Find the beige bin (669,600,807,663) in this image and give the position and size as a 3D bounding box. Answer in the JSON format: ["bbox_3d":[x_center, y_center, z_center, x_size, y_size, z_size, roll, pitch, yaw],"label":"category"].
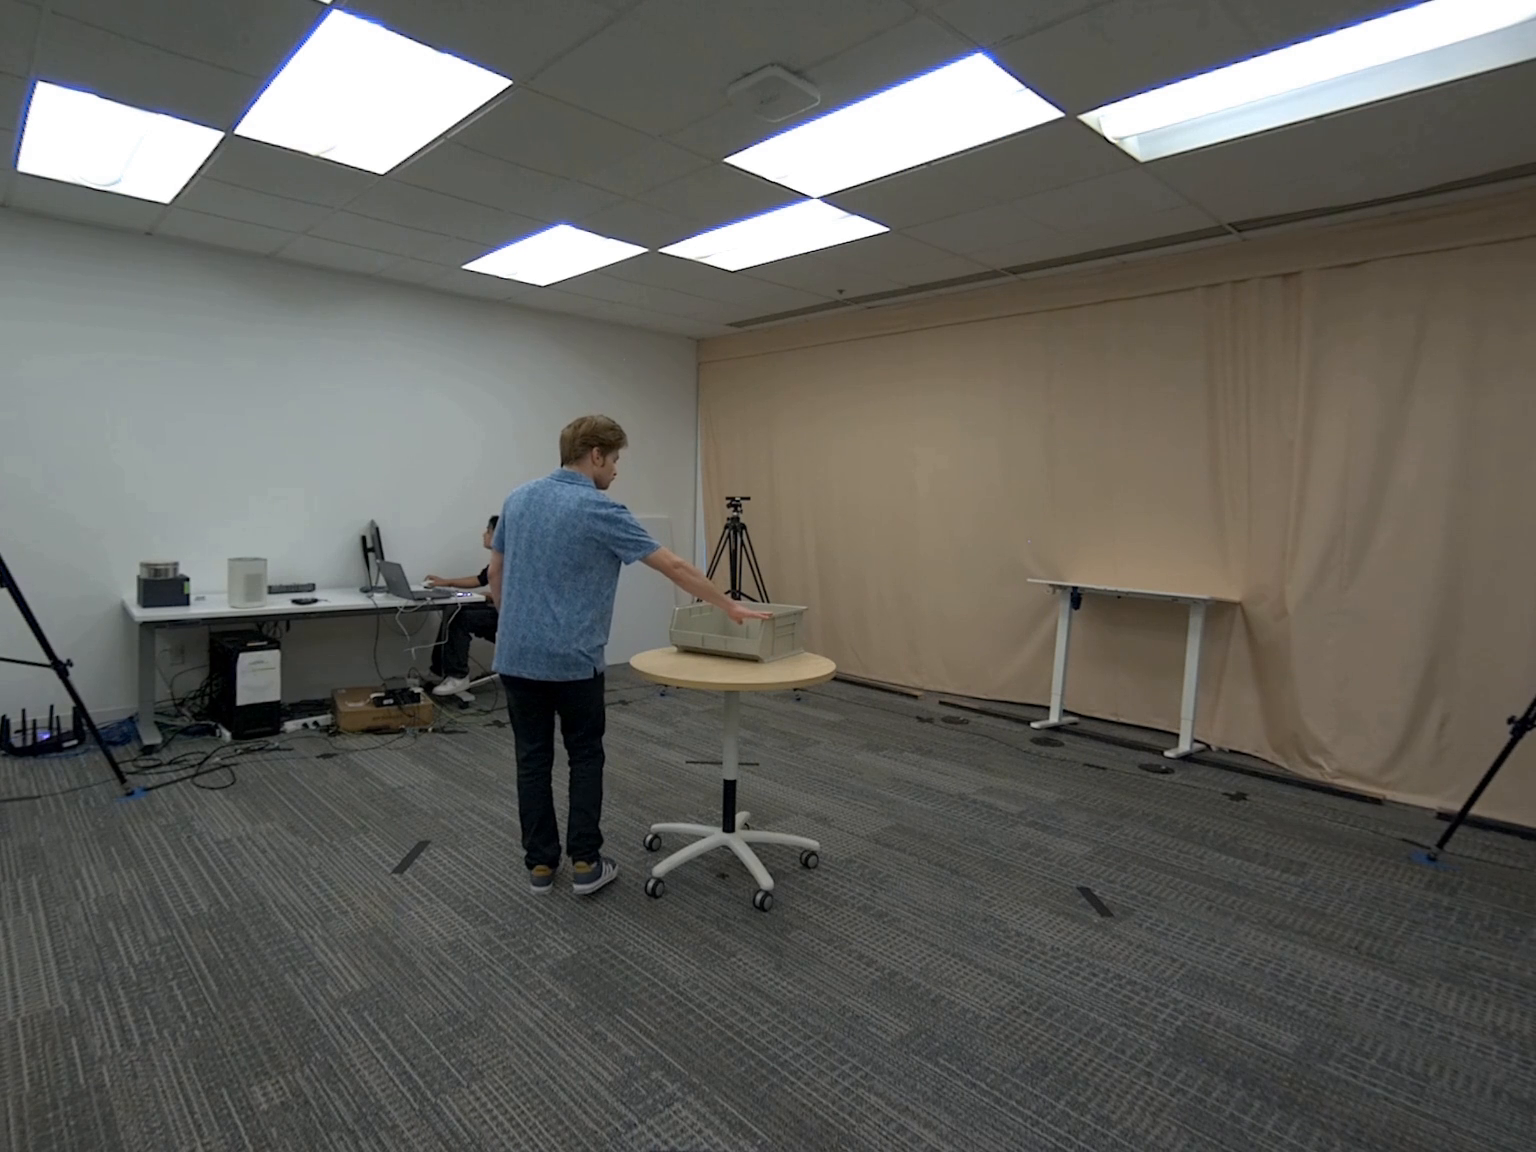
[{"bbox_3d":[-0.122,0.215,3.338,0.432,0.189,0.369,4,4,31],"label":"beige bin"}]
